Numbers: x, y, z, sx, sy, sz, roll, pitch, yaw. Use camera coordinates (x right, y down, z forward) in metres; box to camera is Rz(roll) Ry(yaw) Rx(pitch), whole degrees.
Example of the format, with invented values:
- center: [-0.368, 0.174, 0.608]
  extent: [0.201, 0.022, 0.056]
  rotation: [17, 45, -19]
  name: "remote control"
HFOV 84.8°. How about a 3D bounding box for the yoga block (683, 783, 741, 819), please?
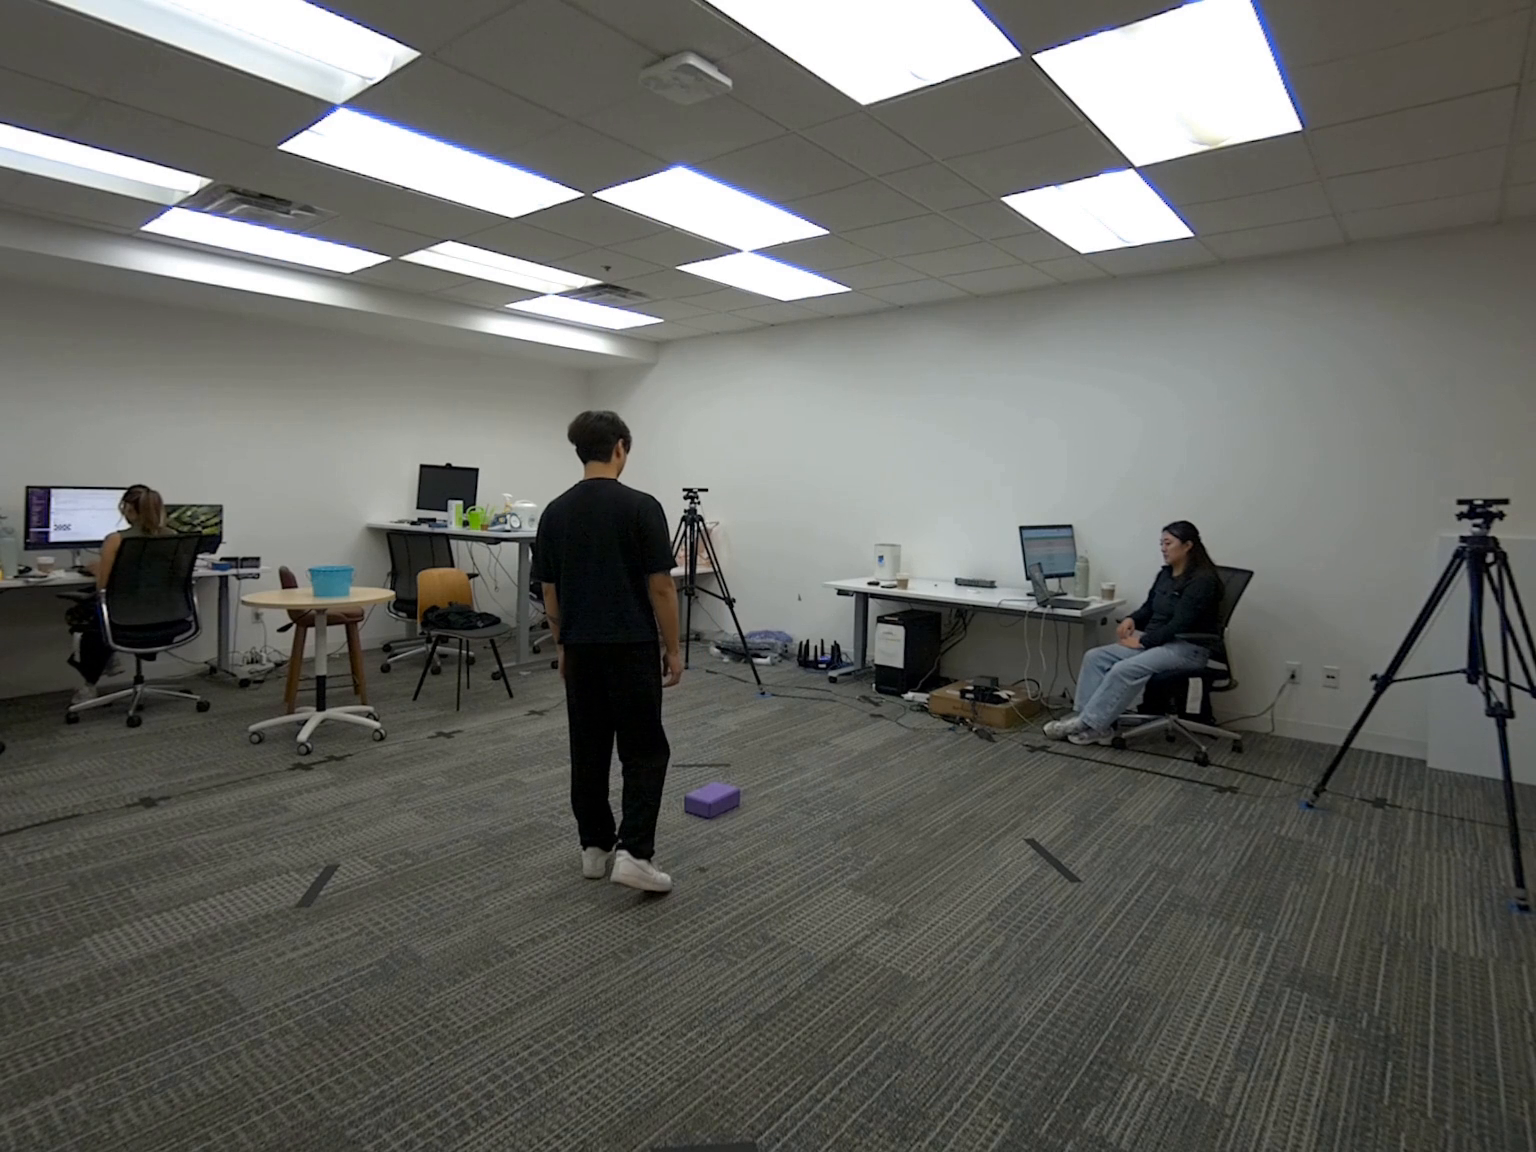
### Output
- center: [-0.252, 0.973, 3.709]
  extent: [0.154, 0.076, 0.223]
  rotation: [3, 6, 35]
  name: "yoga block"
